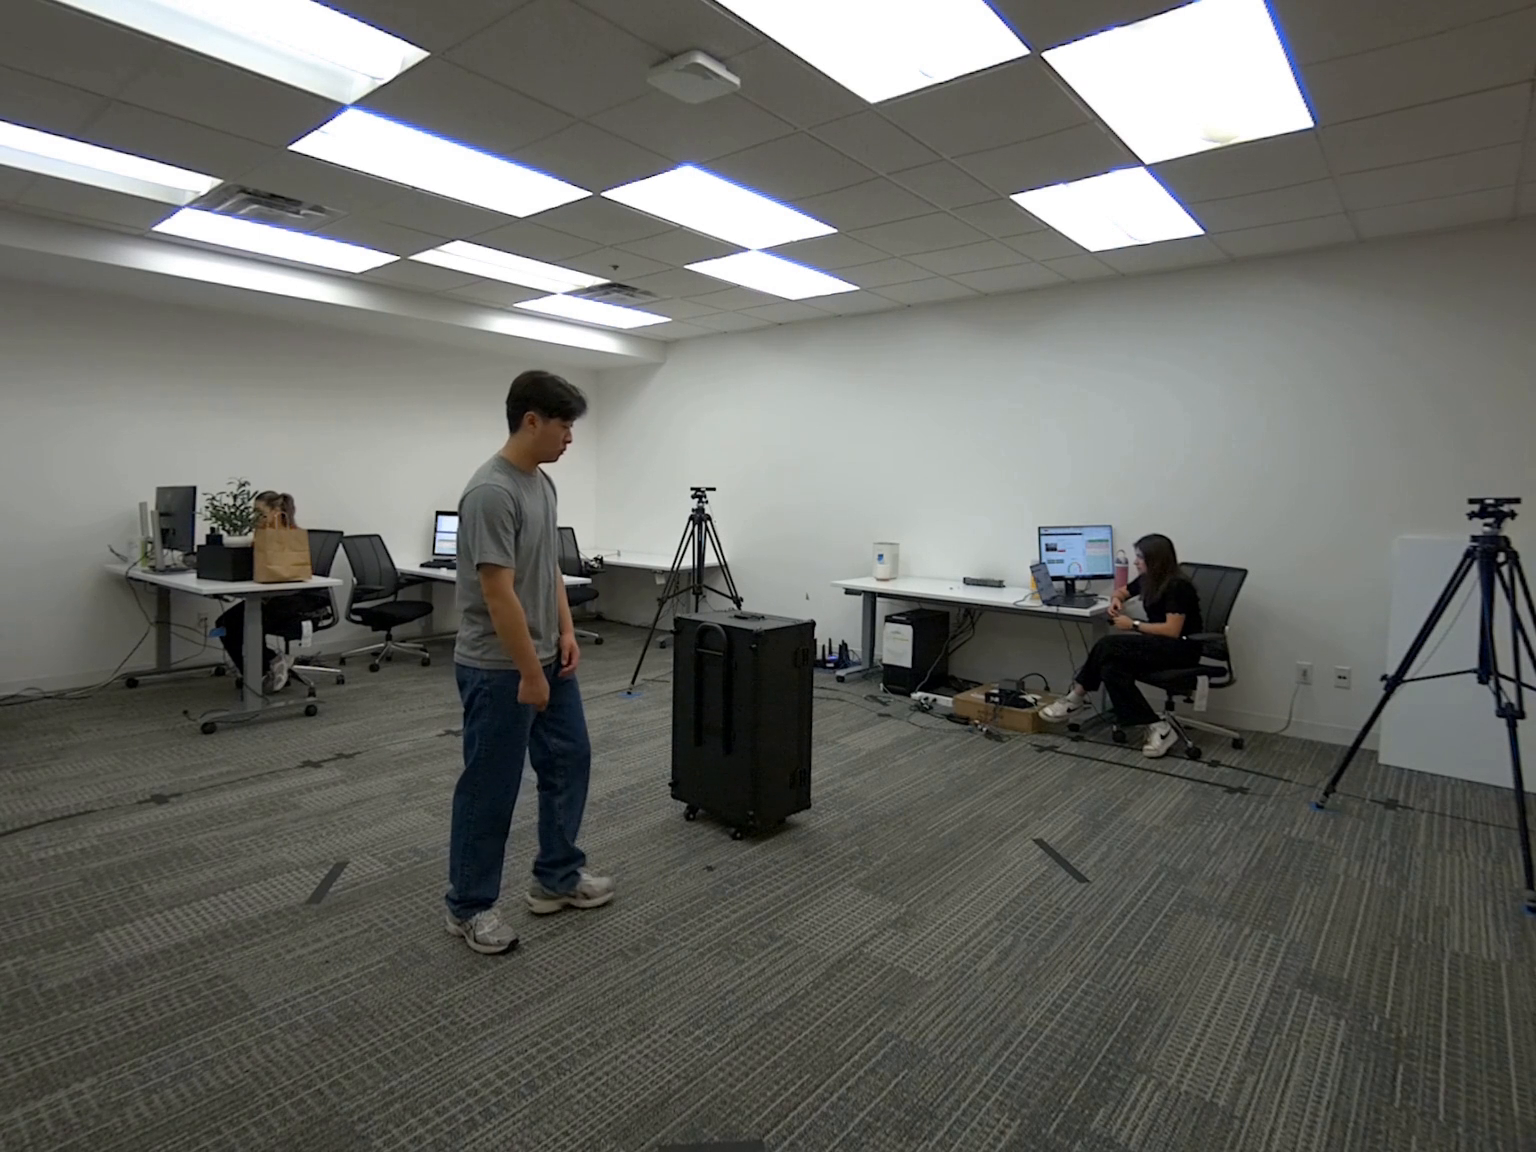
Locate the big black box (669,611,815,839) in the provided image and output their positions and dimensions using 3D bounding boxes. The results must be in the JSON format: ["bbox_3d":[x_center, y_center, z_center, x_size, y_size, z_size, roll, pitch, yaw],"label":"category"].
[{"bbox_3d":[-0.124,0.598,3.548,0.539,0.859,0.384,4,4,42],"label":"big black box"}]
